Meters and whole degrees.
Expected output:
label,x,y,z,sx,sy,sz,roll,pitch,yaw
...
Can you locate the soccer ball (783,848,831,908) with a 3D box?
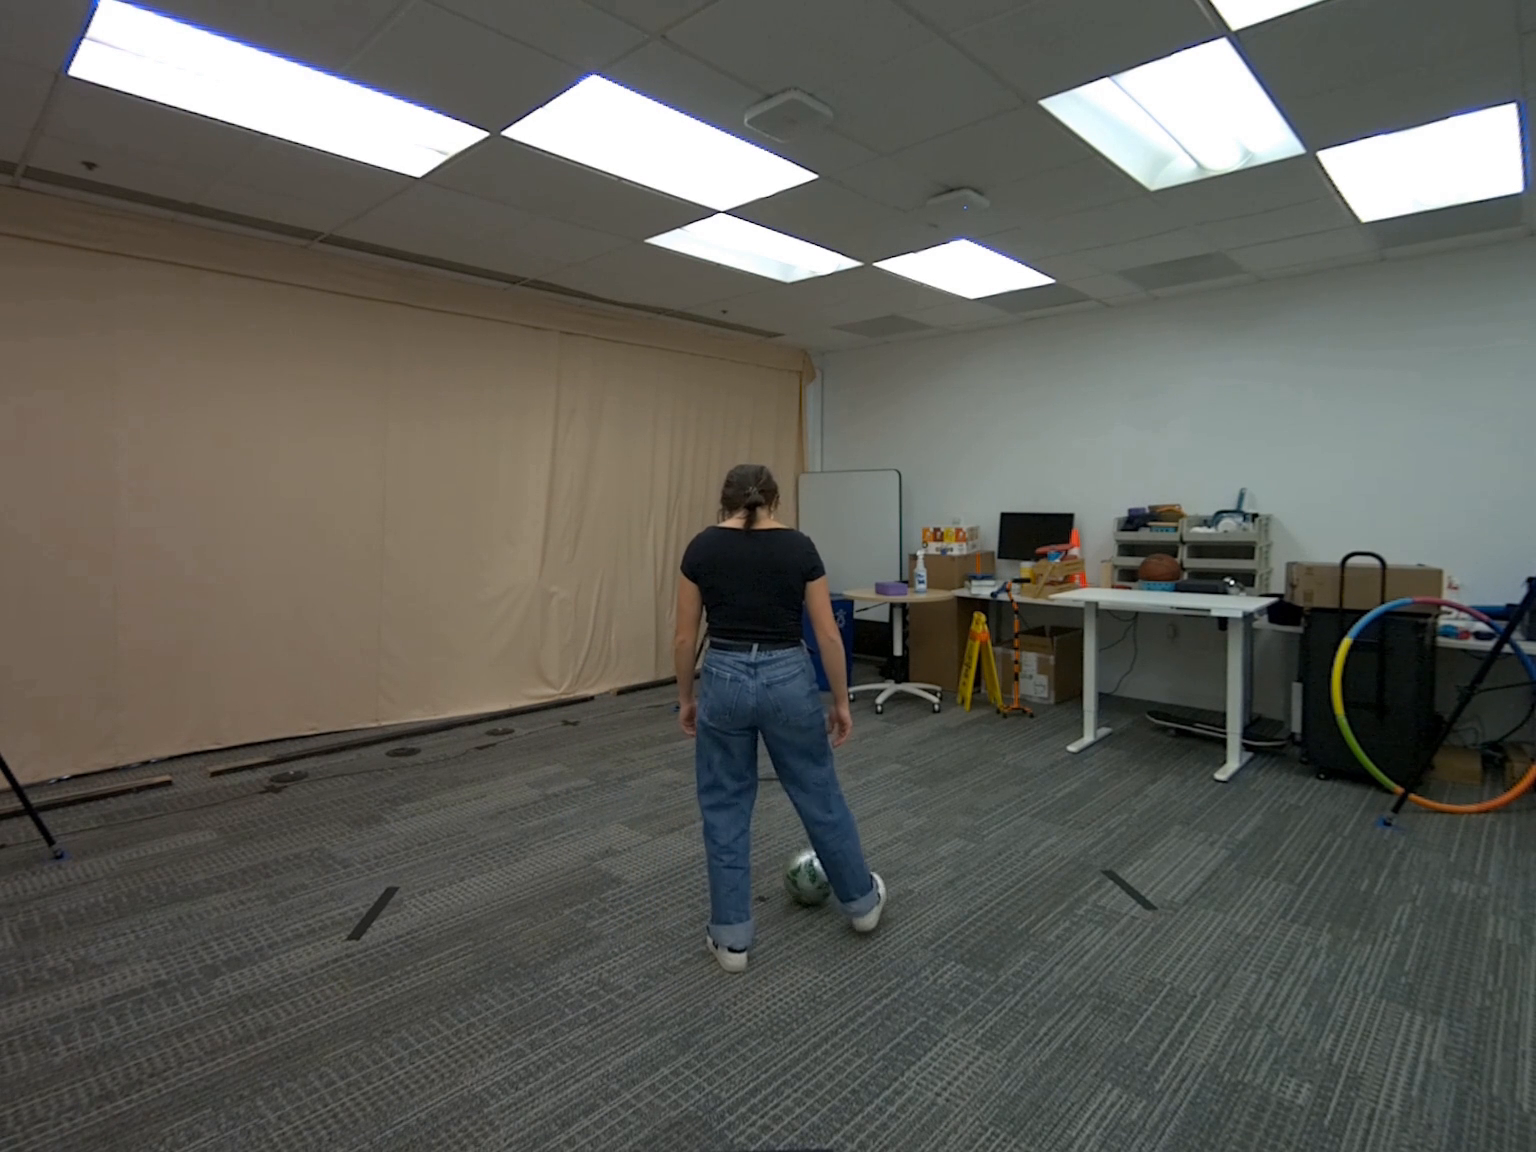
label,x,y,z,sx,sy,sz,roll,pitch,yaw
soccer ball,0.148,1.053,2.953,0.187,0.187,0.188,0,4,-2
